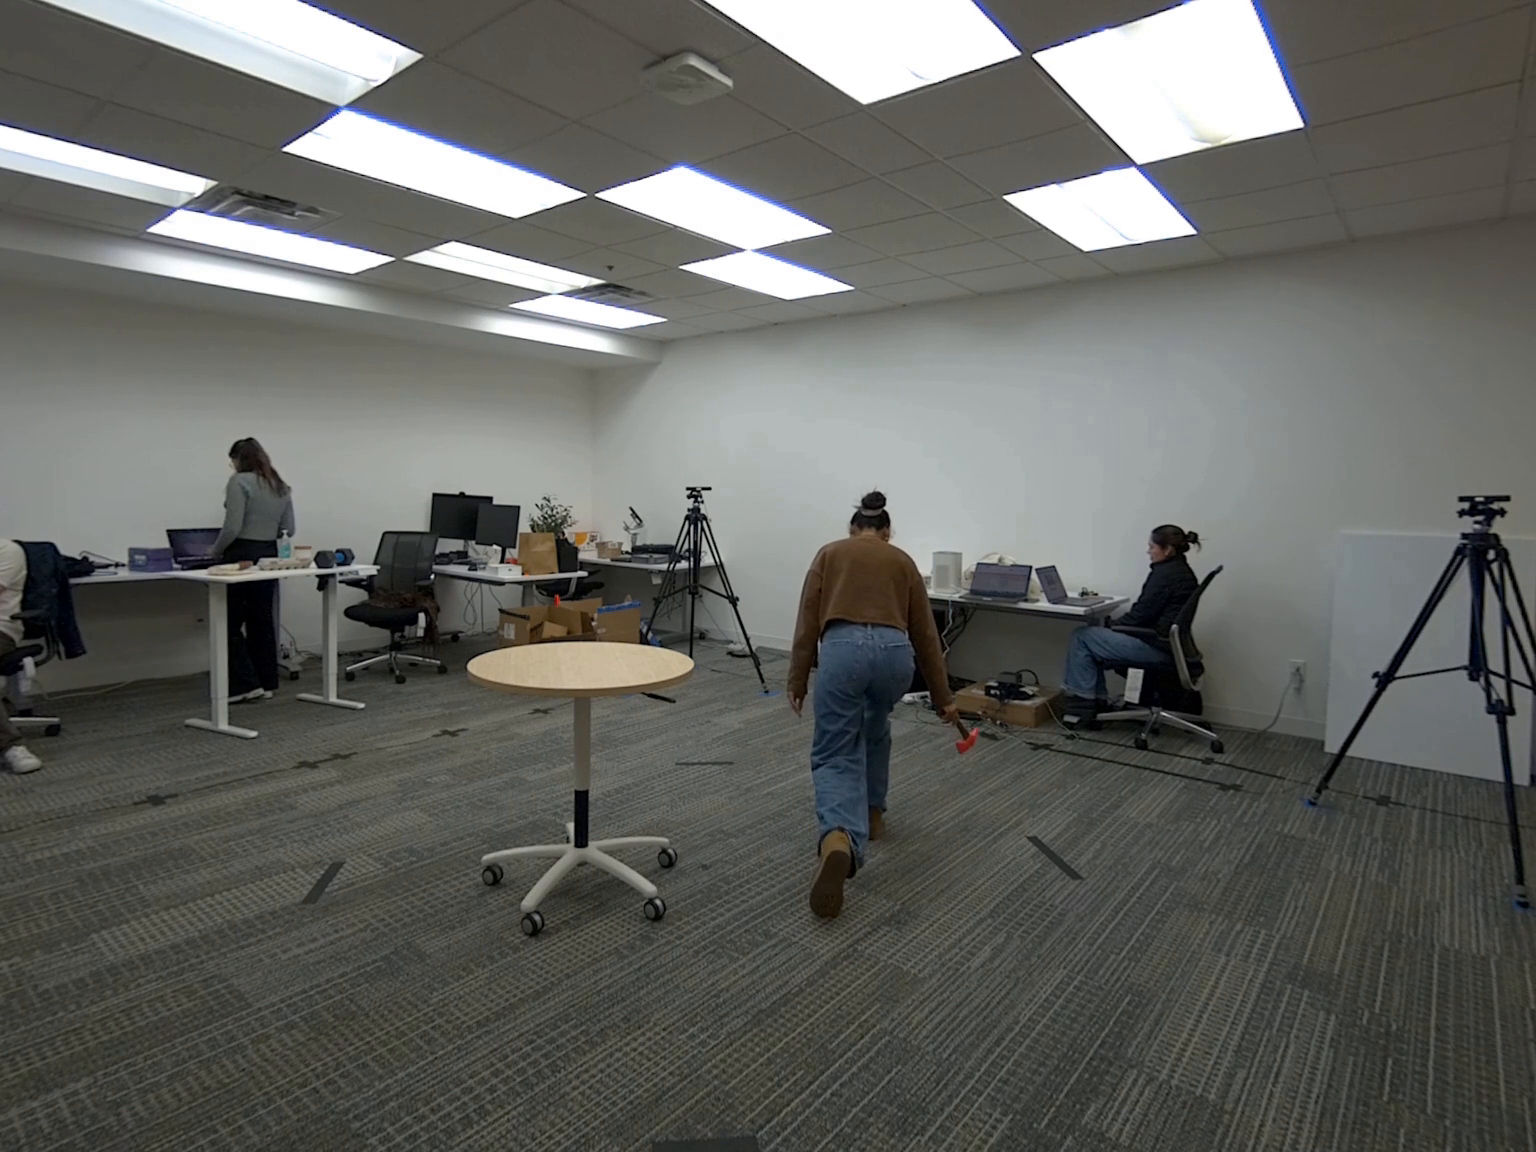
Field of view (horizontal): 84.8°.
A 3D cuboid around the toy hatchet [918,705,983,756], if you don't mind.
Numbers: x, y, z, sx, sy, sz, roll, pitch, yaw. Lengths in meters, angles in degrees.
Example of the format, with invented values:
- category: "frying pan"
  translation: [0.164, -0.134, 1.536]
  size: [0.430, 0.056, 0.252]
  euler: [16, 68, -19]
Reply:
- category: "toy hatchet"
  translation: [0.733, 0.614, 3.371]
  size: [0.261, 0.131, 0.030]
  euler: [28, -1, -29]
